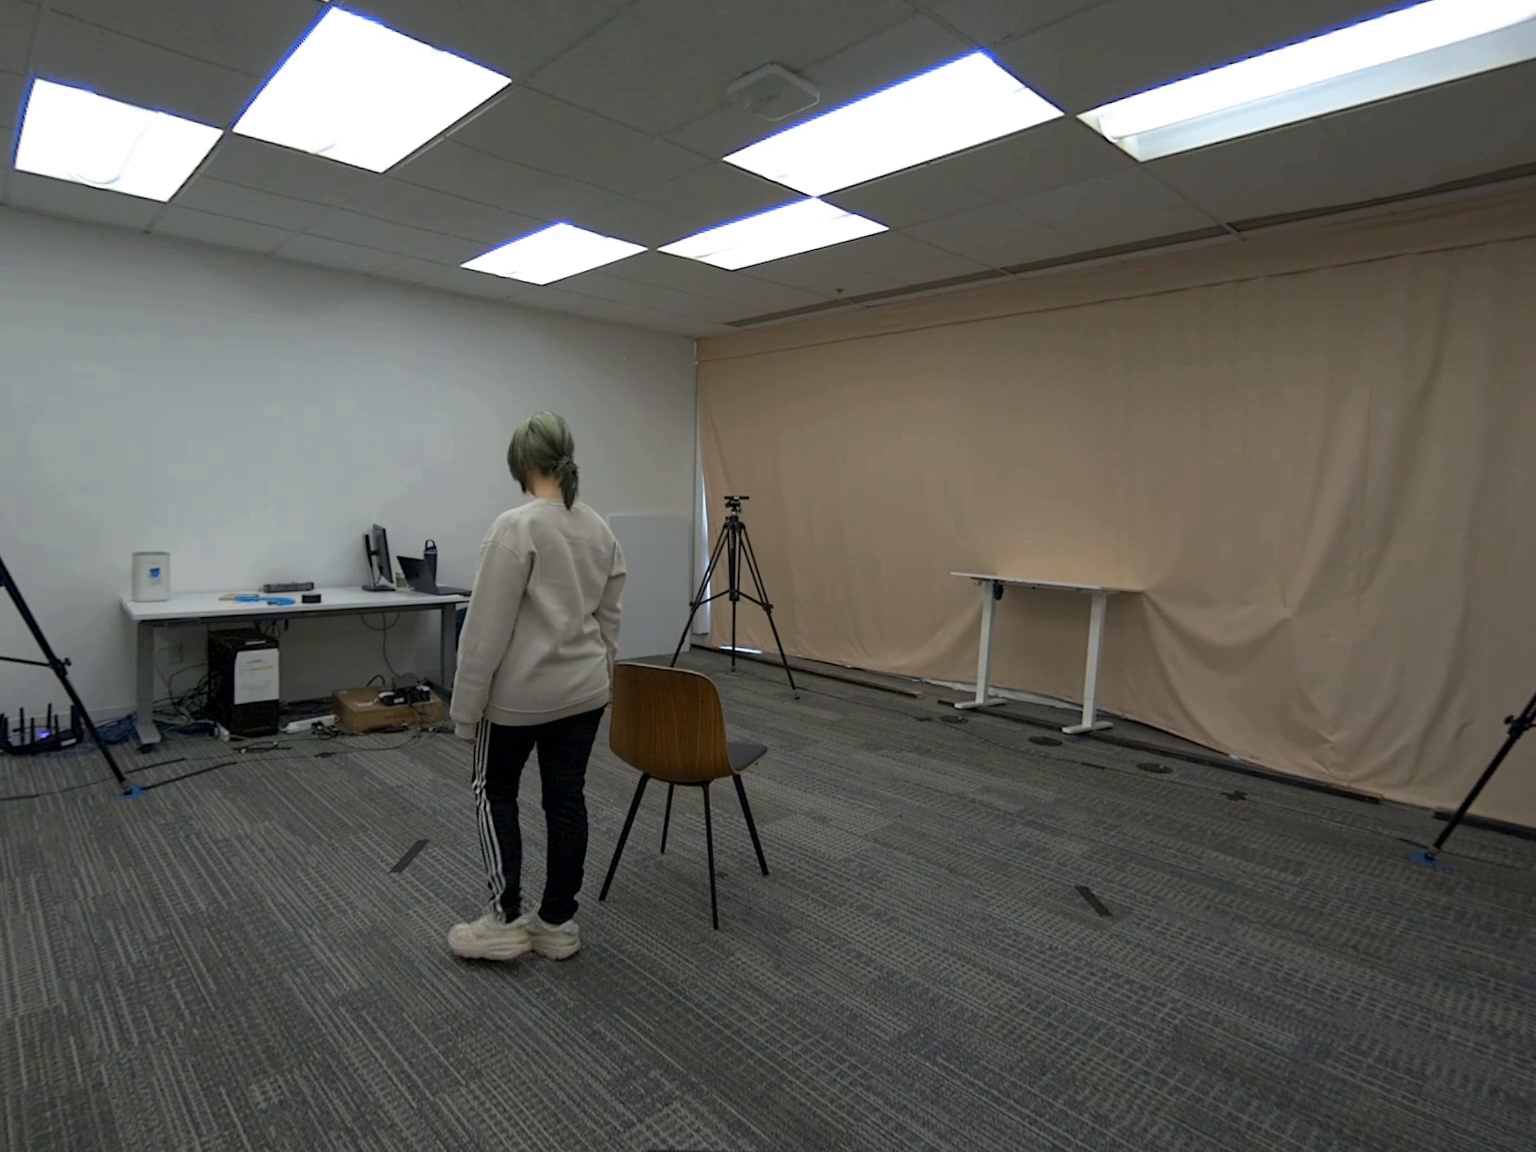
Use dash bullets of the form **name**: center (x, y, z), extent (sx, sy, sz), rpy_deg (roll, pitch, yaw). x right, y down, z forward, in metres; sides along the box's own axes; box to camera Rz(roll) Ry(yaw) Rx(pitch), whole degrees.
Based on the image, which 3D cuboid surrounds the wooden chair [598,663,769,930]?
- **wooden chair**: center (-0.280, 0.684, 2.980), extent (0.487, 0.872, 0.516), rpy_deg (3, 8, 24)
